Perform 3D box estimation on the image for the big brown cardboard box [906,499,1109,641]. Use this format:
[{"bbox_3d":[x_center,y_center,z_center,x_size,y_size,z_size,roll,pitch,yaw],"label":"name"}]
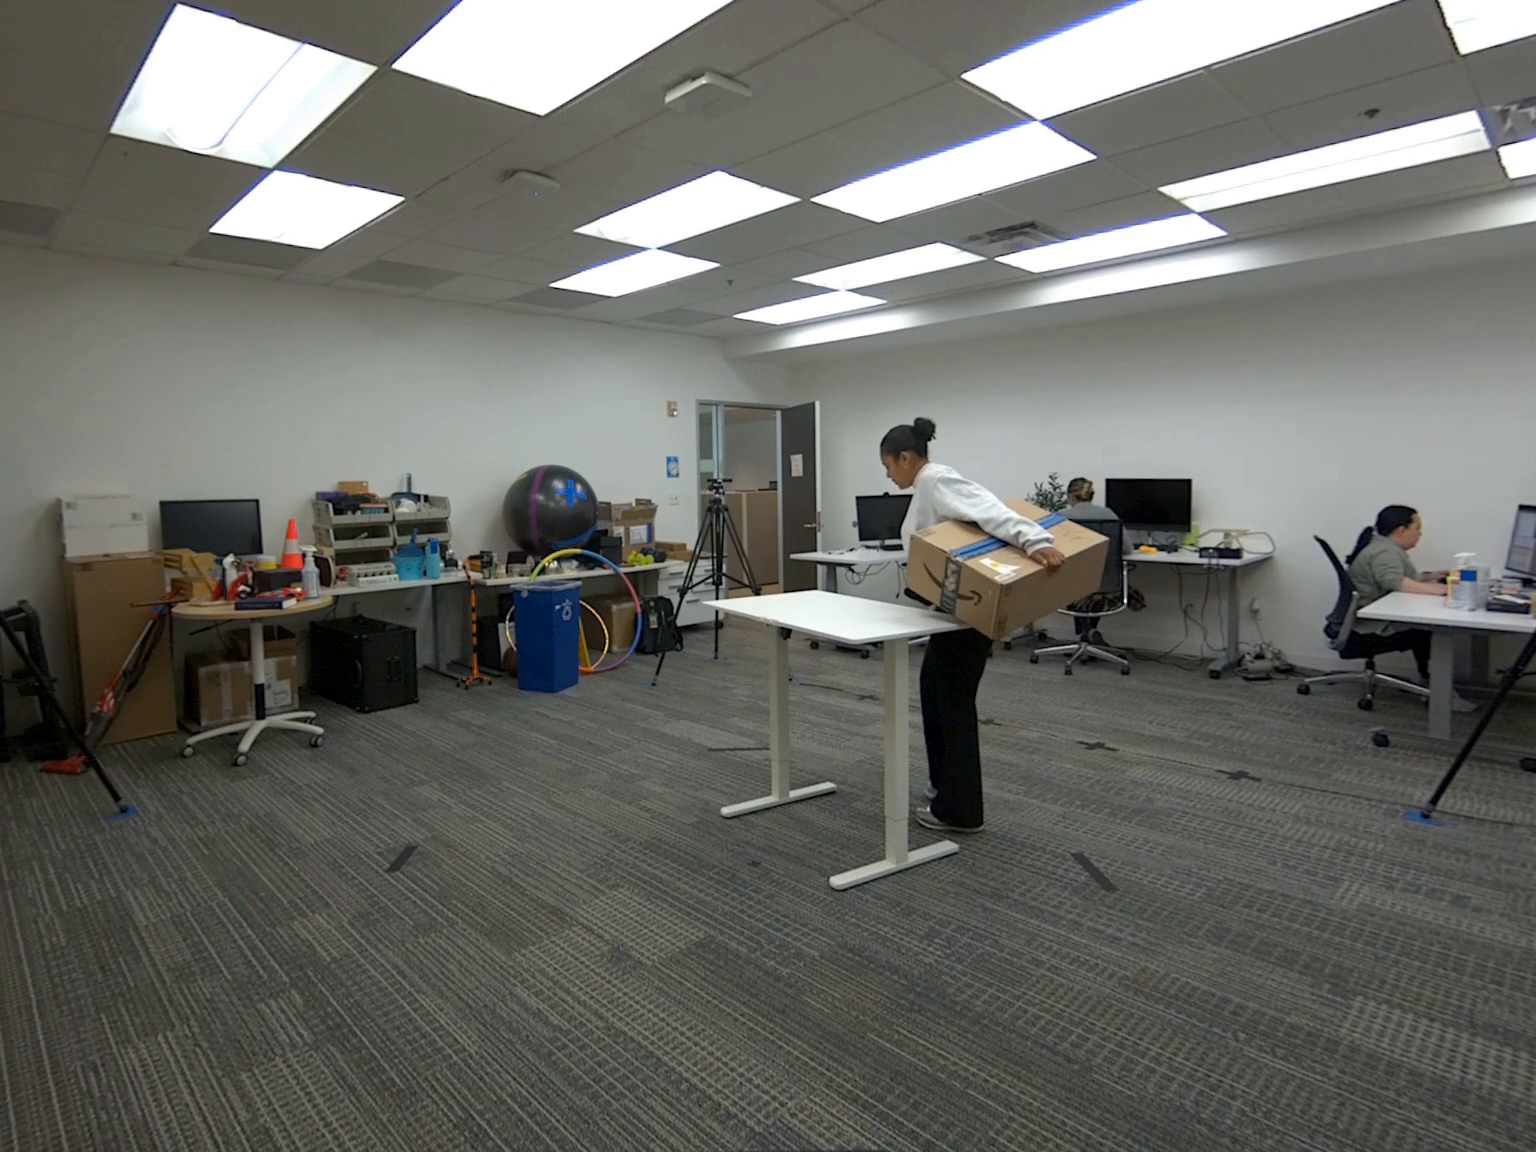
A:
[{"bbox_3d":[0.841,-0.043,3.059,0.579,0.228,0.434,-18,34,-30],"label":"big brown cardboard box"}]
